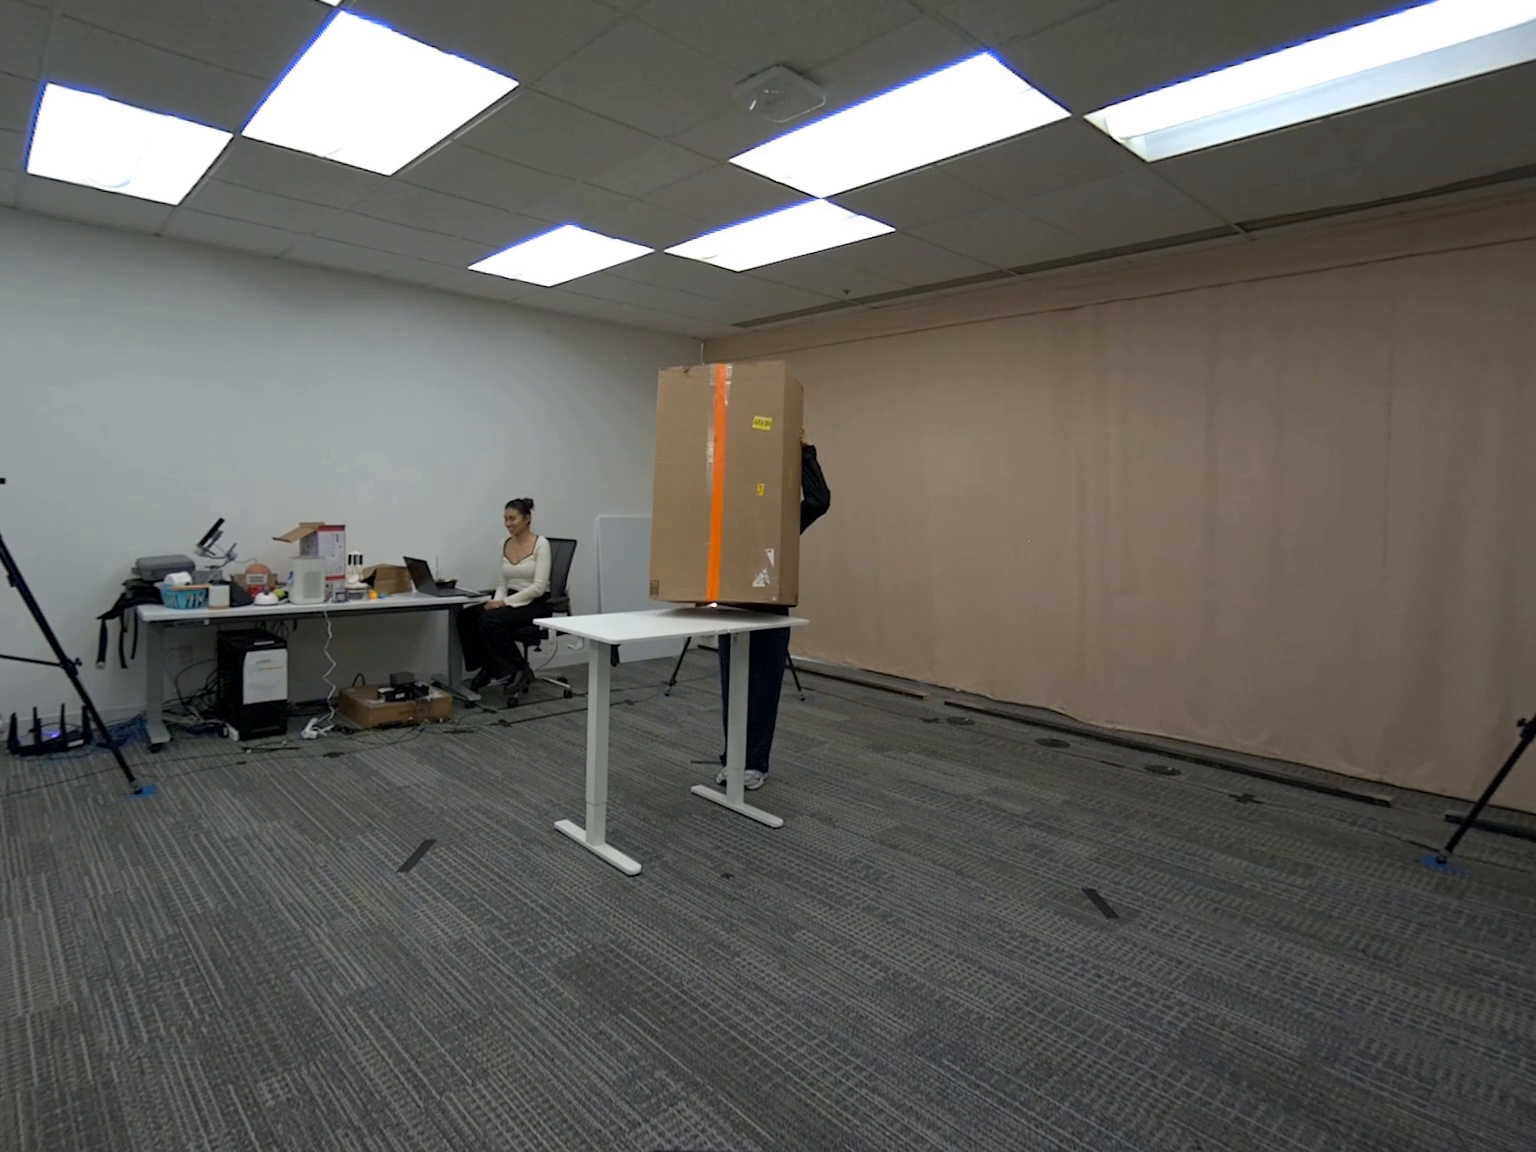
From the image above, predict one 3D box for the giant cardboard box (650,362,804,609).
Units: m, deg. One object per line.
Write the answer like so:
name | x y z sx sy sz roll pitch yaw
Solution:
giant cardboard box | -0.180 -0.386 3.767 0.592 1.031 0.439 0 -5 16
